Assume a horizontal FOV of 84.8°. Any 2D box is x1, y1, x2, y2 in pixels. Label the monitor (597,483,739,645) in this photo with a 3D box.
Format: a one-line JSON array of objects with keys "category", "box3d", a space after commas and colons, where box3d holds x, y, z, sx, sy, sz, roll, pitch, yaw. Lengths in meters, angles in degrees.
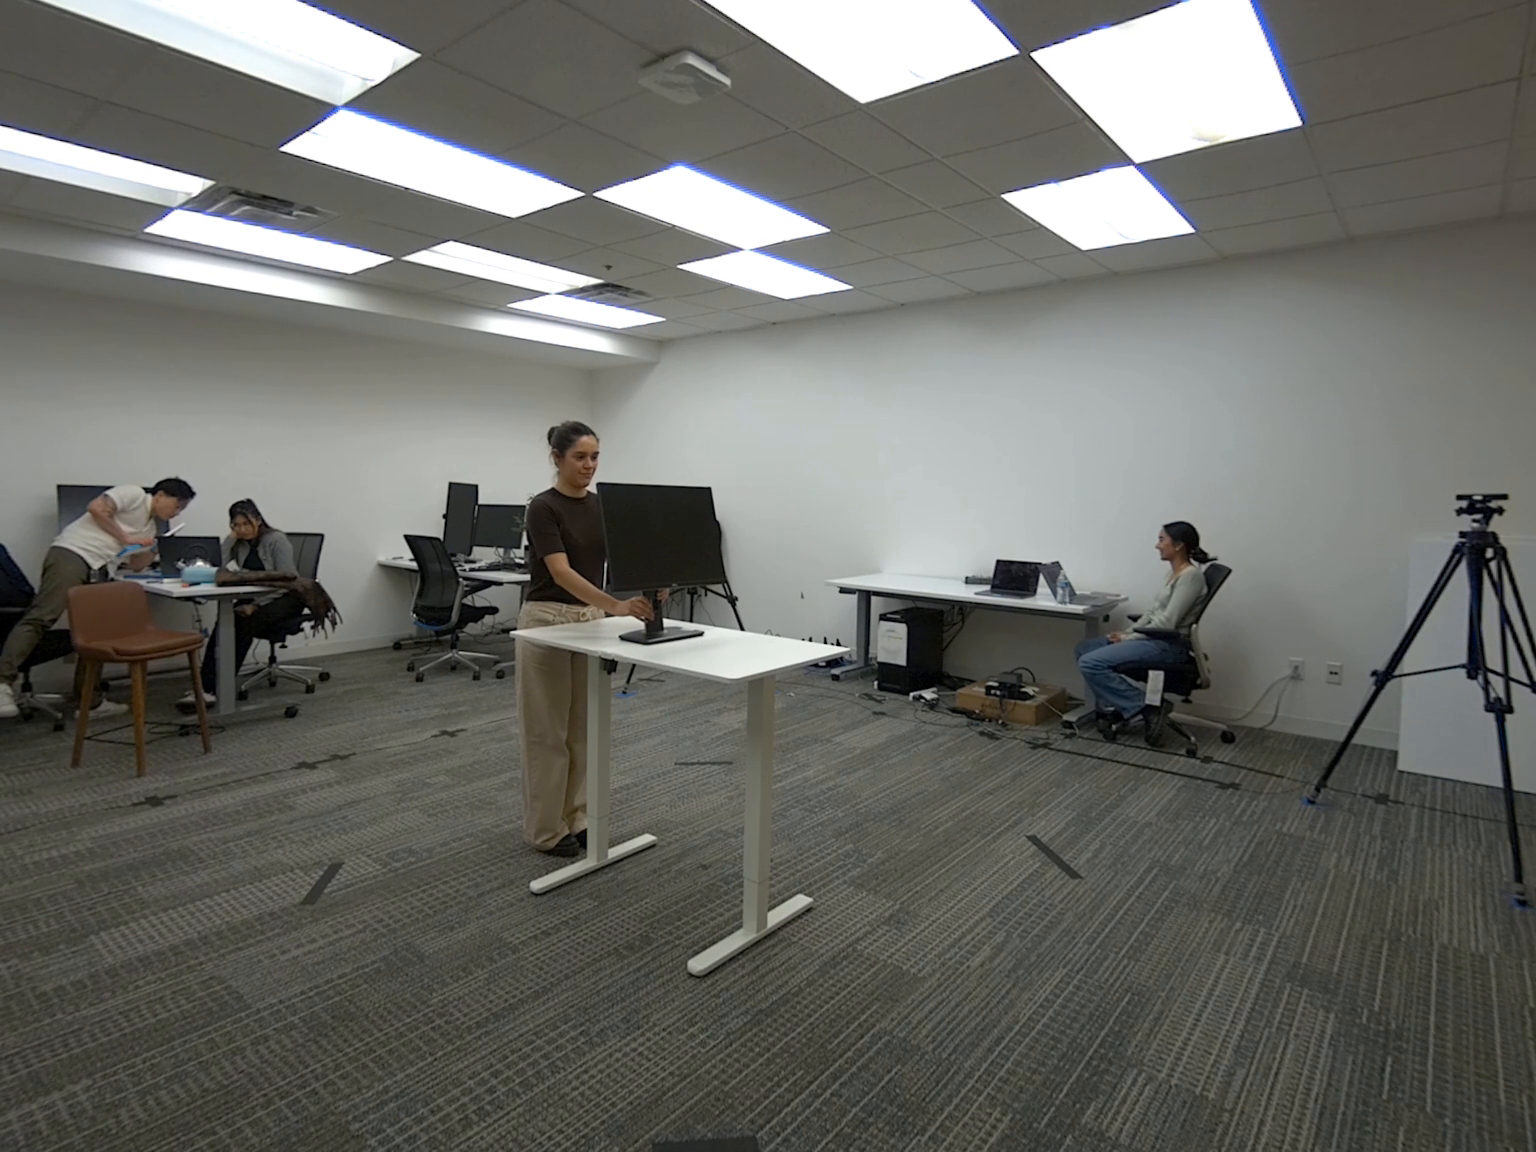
[{"category": "monitor", "box3d": [-0.377, -0.050, 2.862, 0.180, 0.514, 0.514, 6, 5, 37]}]
